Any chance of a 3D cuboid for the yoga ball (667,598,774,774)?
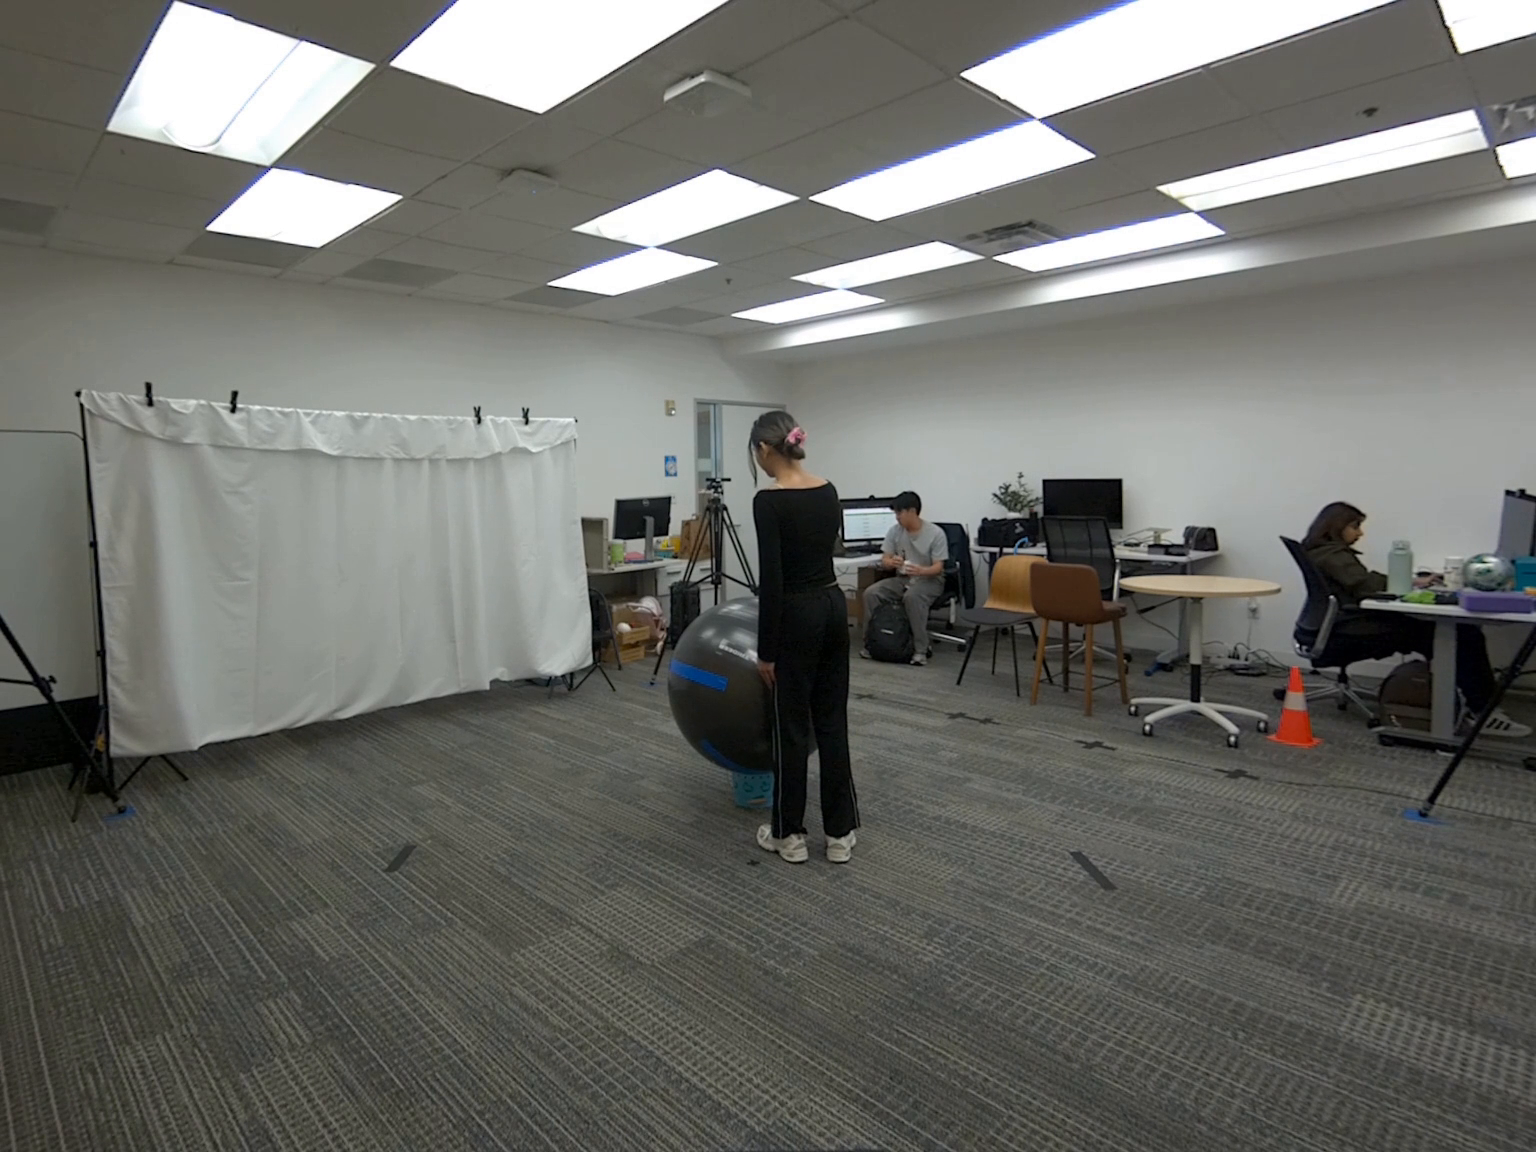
[{"bbox_3d":[-0.059,0.467,3.696,0.757,0.755,0.762,-1,5,-2],"label":"yoga ball"}]
